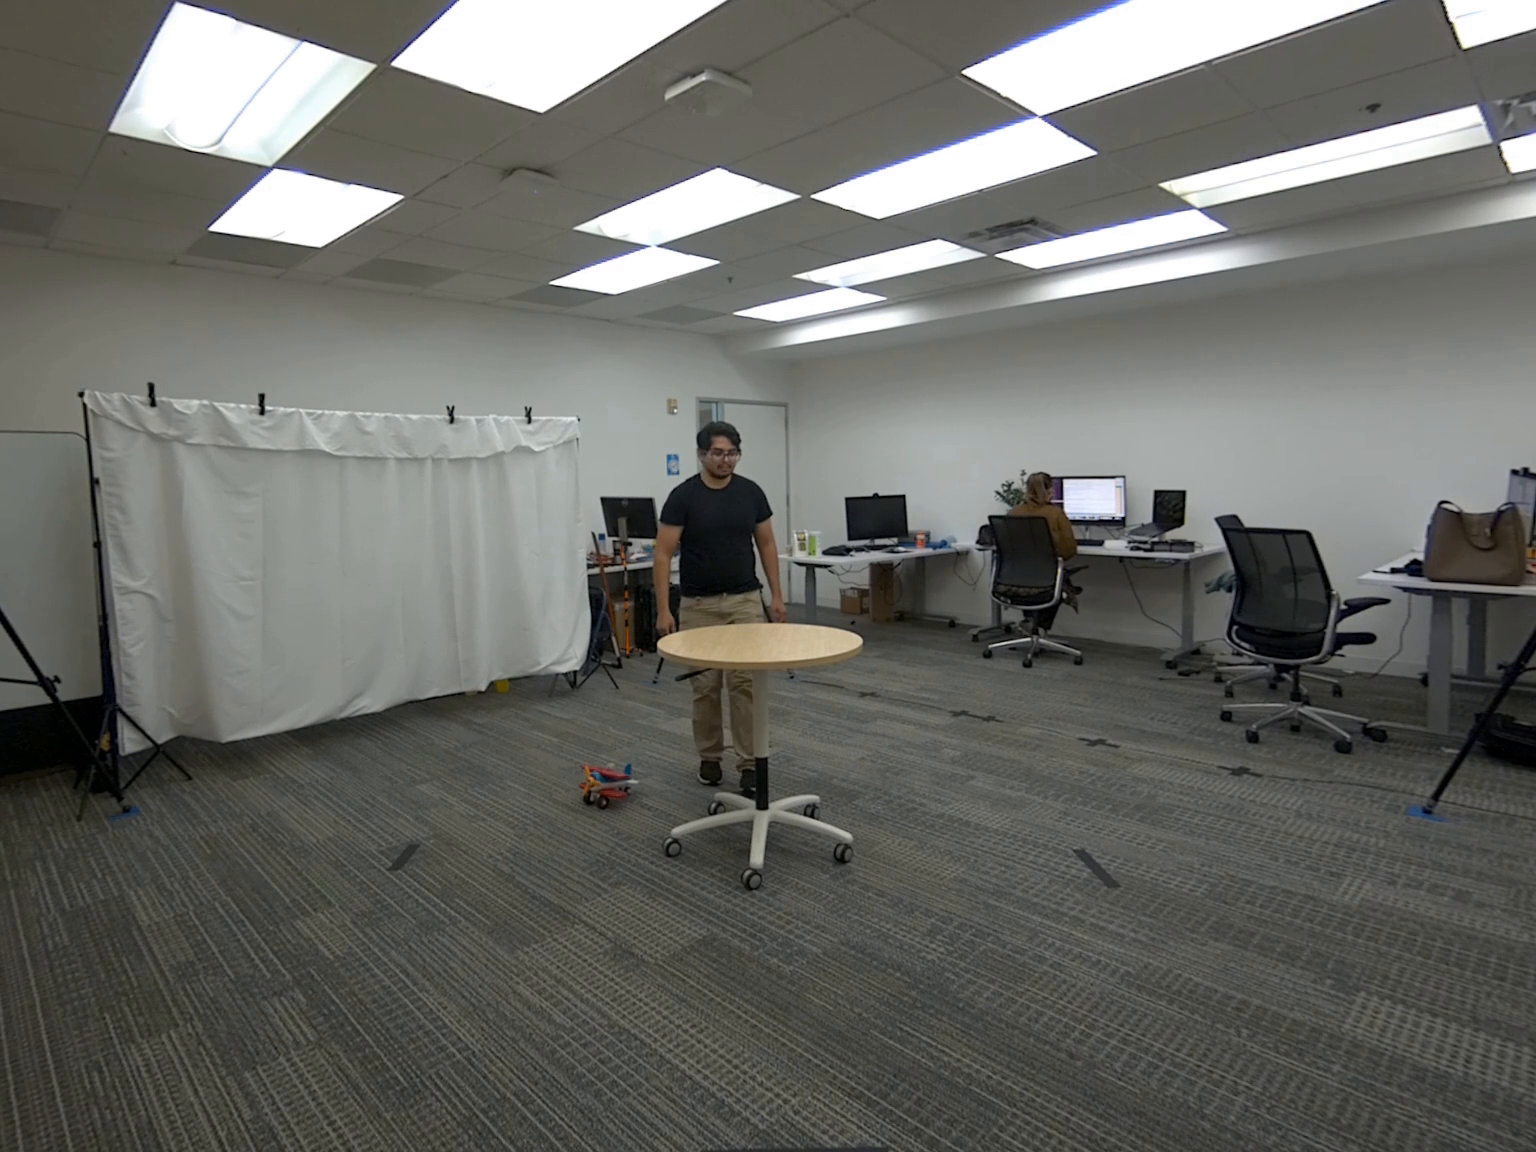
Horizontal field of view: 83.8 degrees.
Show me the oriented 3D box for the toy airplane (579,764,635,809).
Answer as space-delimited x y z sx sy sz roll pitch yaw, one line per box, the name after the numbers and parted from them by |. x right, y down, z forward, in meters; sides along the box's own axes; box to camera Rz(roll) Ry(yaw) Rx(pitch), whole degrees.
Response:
-0.708 0.905 3.740 0.253 0.155 0.258 -1 7 9 | toy airplane
